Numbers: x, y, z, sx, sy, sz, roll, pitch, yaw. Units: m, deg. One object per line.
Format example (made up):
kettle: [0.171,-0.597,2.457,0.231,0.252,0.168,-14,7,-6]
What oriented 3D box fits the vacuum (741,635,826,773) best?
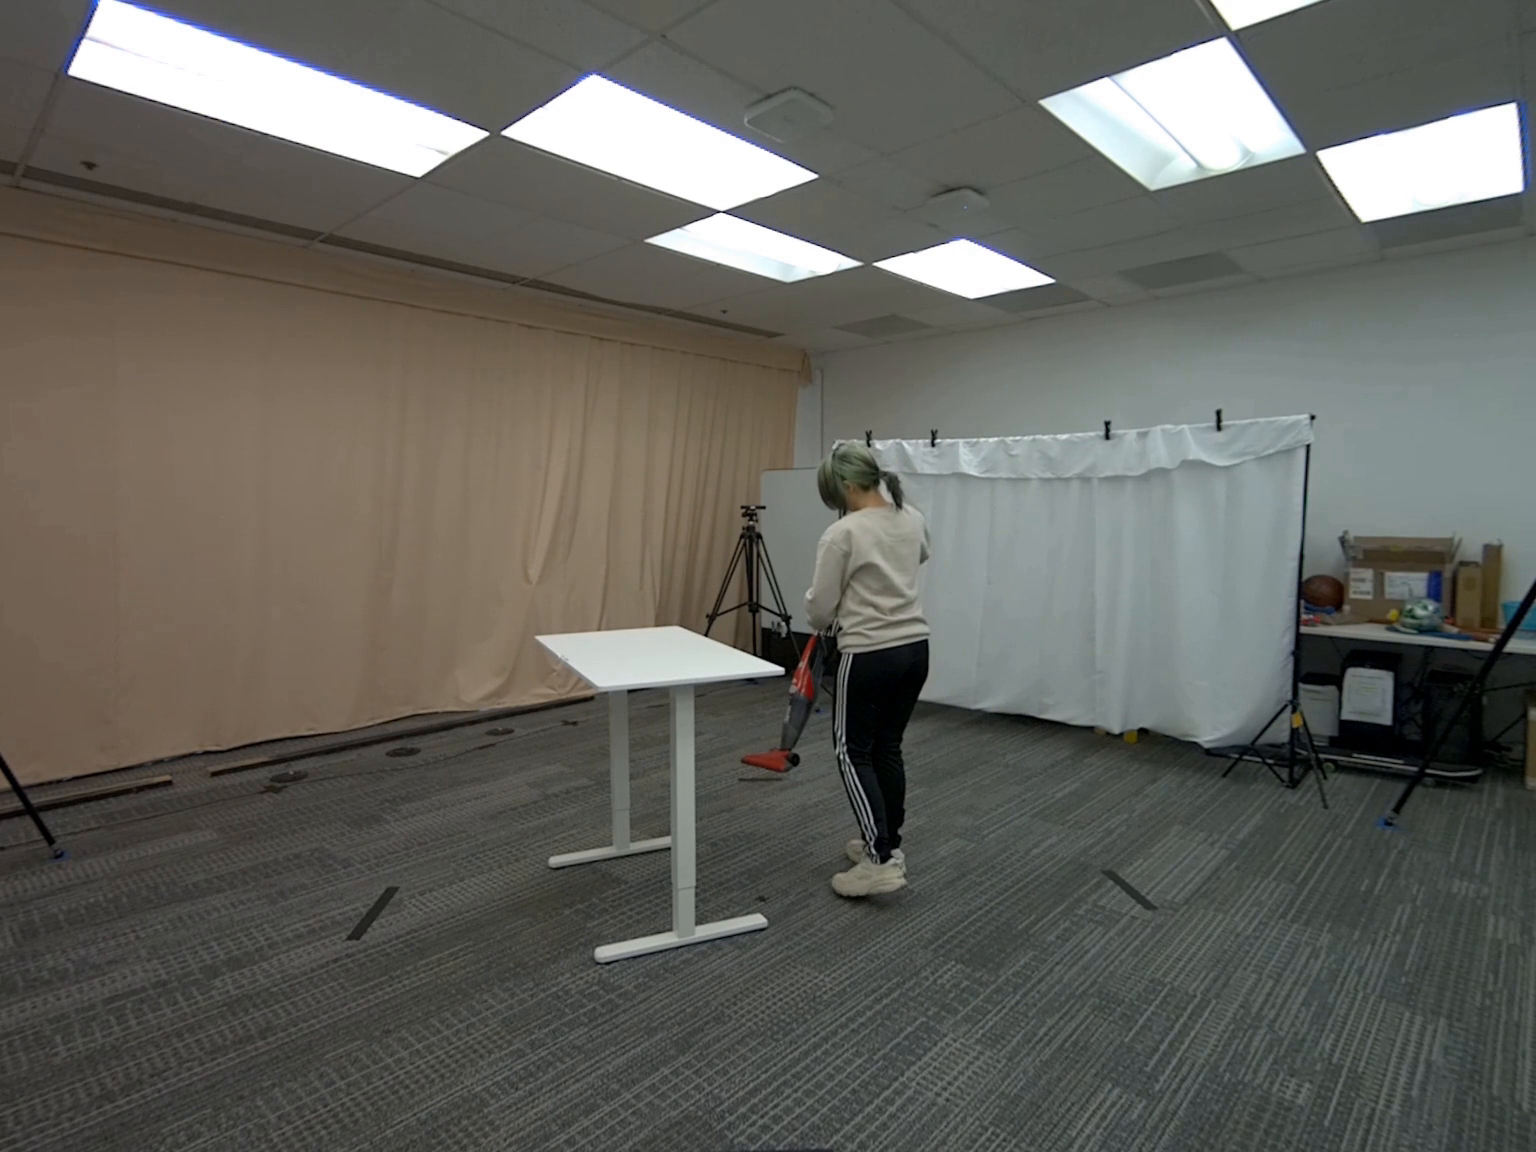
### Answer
vacuum: [0.219,0.266,3.387,0.140,1.052,0.259,33,-23,-28]
